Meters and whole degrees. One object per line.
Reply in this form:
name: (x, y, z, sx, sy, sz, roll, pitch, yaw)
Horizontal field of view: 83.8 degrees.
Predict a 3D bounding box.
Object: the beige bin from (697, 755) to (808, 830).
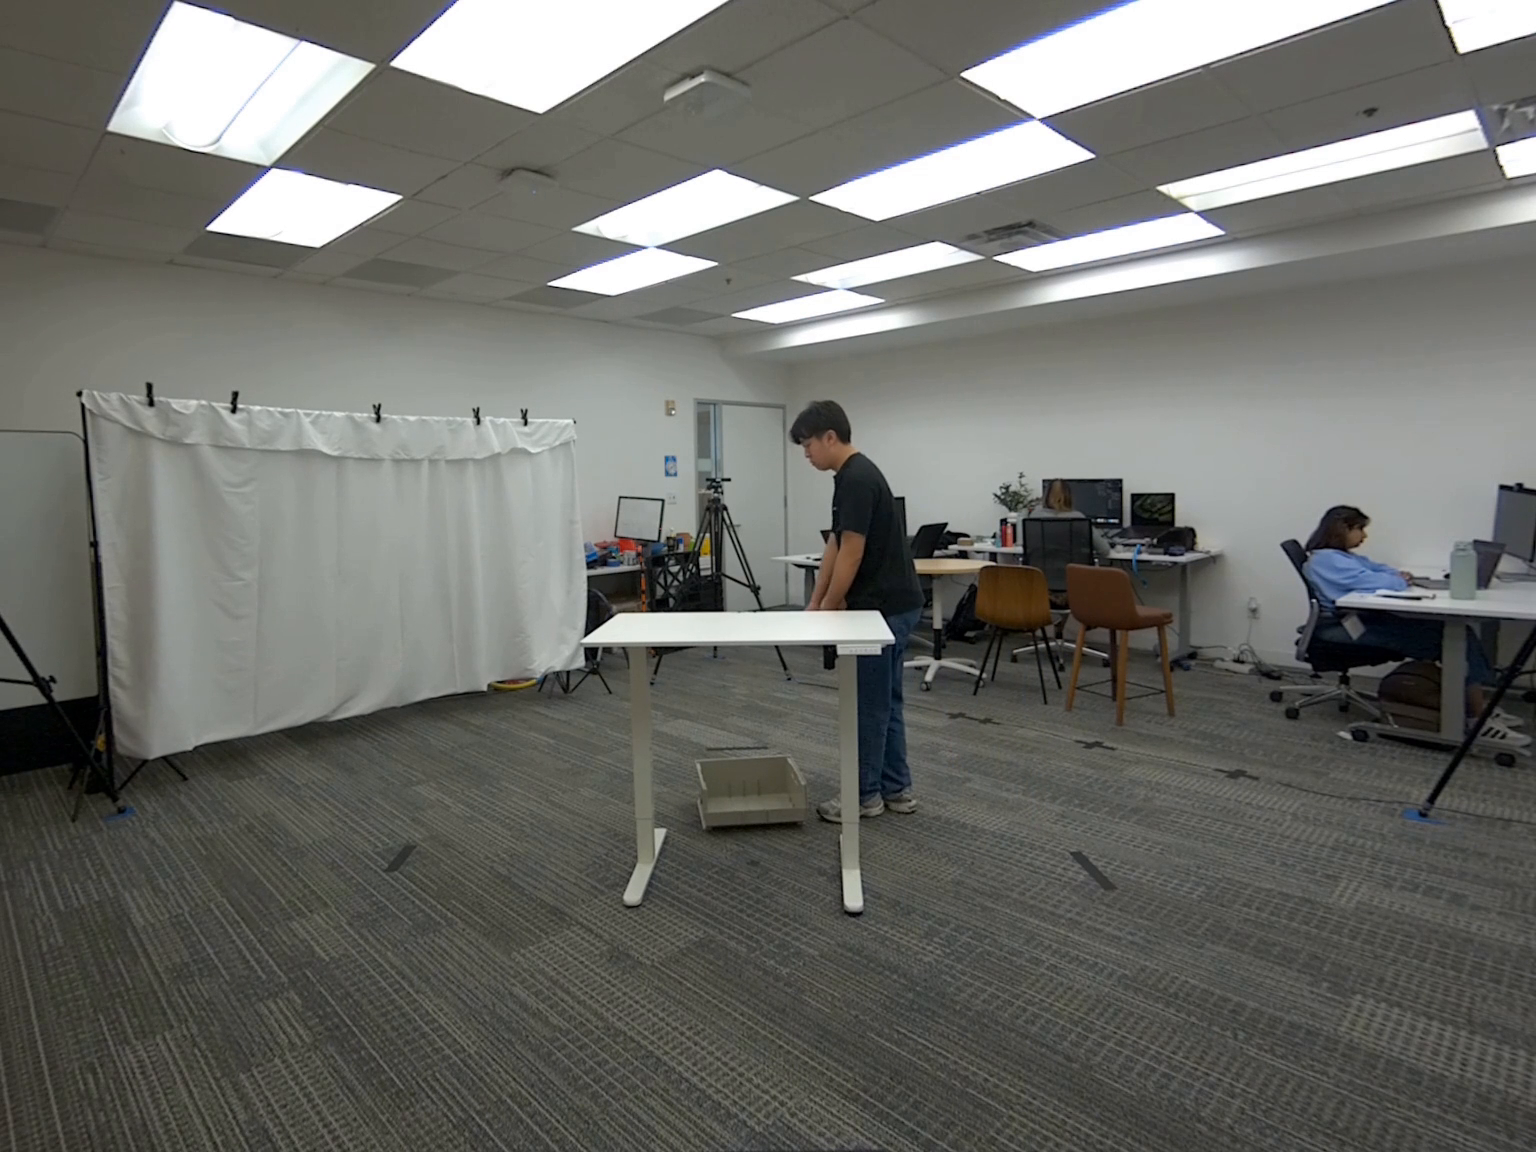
beige bin: (-0.072, 0.903, 3.552, 0.419, 0.188, 0.381, -2, 5, -8)
